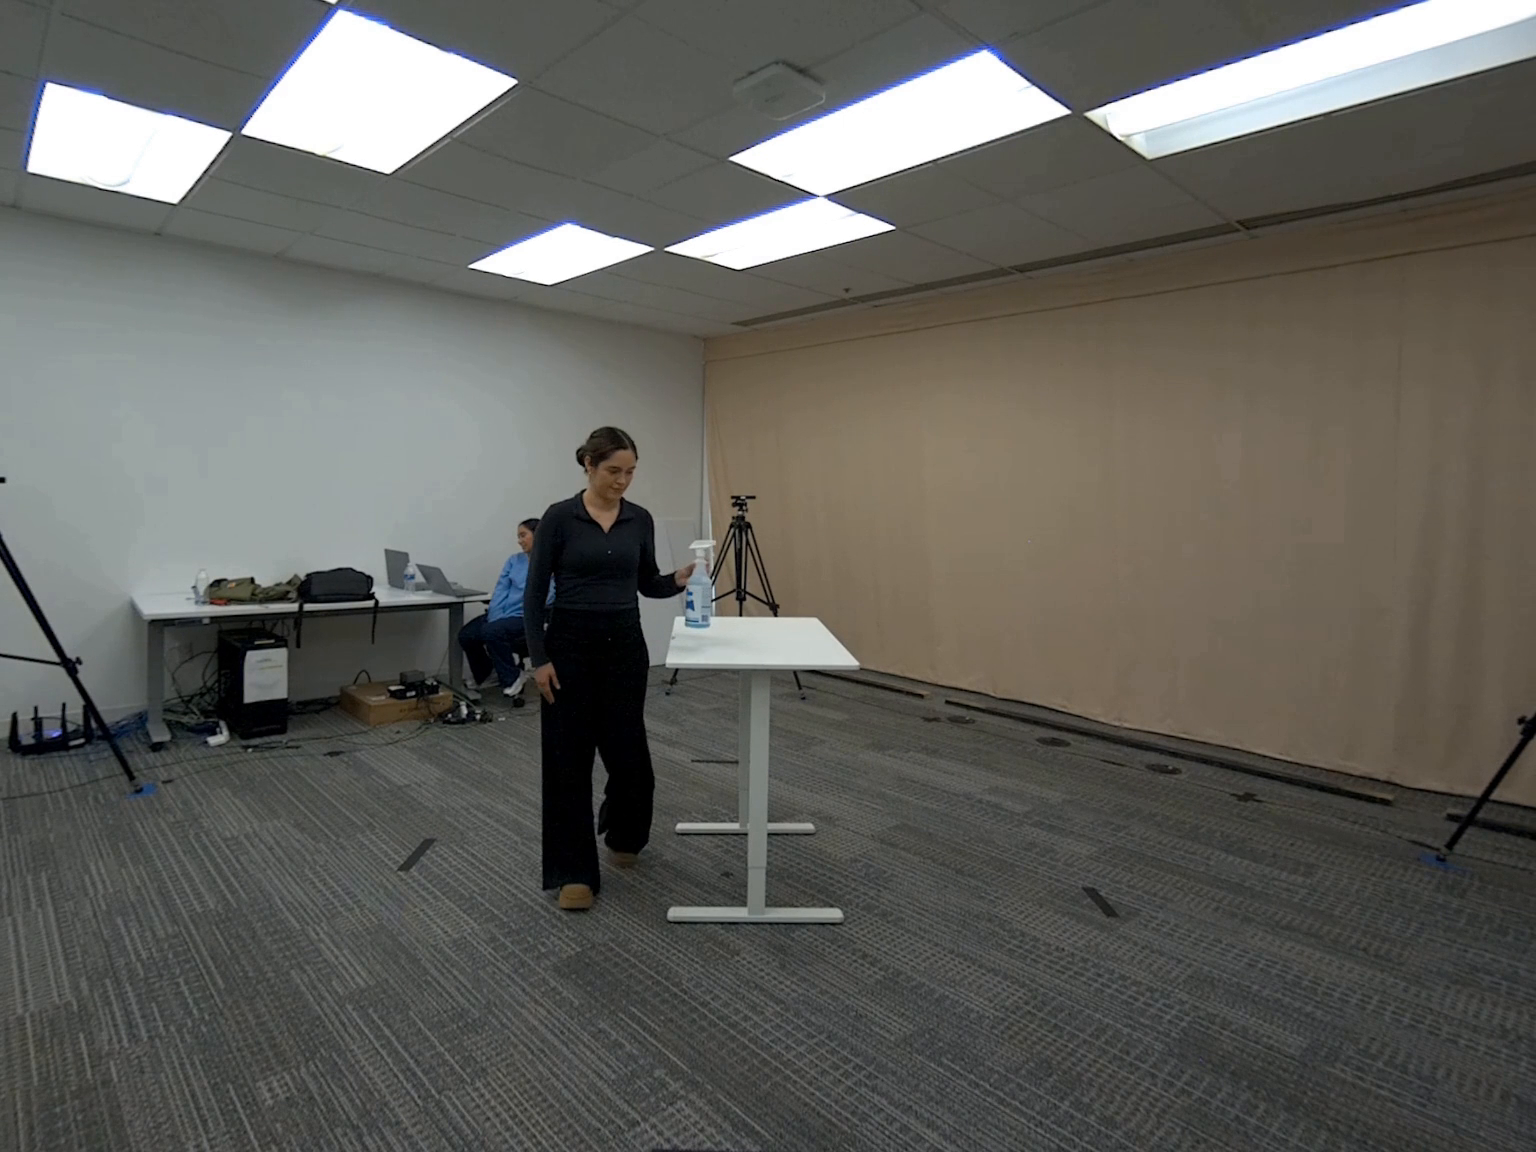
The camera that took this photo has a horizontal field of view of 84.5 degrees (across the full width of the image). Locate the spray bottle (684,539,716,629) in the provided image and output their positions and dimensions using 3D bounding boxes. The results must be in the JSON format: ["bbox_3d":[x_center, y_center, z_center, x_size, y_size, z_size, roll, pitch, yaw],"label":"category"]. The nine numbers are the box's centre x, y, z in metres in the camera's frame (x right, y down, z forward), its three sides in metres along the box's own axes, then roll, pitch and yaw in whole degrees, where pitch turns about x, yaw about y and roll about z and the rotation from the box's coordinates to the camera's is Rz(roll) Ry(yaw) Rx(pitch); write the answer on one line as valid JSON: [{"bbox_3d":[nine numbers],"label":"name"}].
[{"bbox_3d":[-0.244,0.028,2.847,0.092,0.297,0.085,2,-1,24],"label":"spray bottle"}]
